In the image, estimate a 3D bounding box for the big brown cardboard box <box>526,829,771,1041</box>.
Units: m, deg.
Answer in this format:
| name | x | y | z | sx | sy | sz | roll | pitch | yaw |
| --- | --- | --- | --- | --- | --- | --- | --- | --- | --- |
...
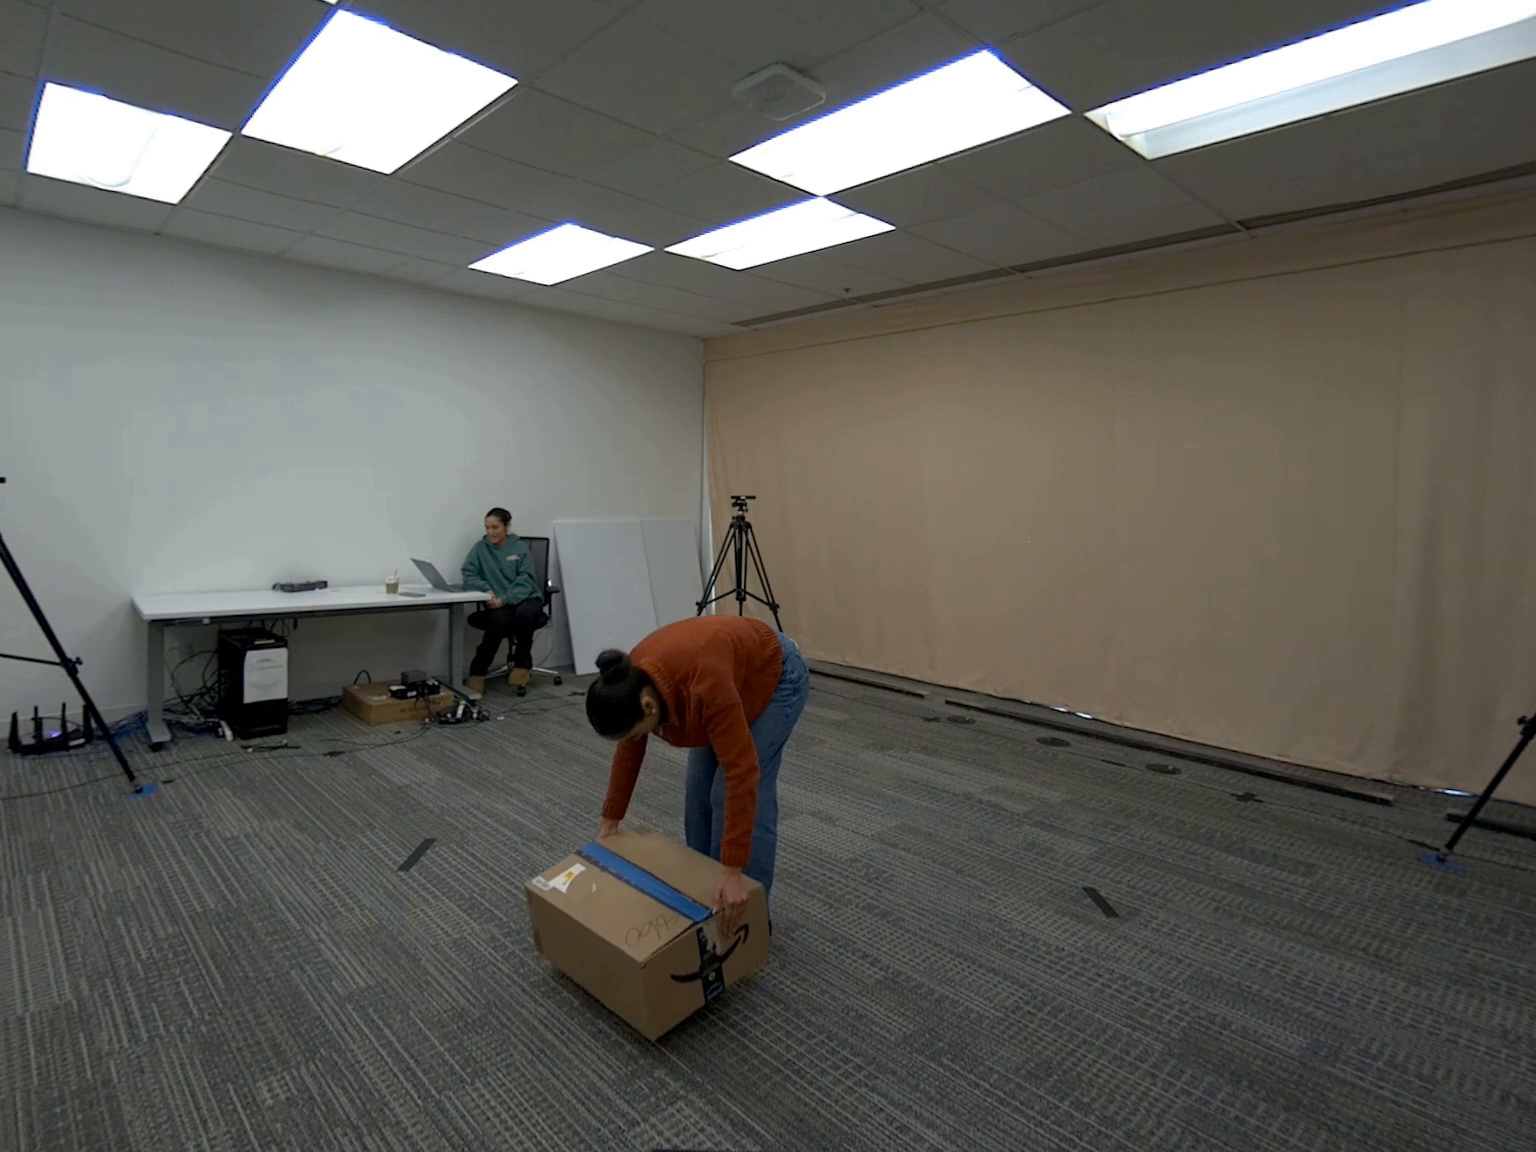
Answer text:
| name | x | y | z | sx | sy | sz | roll | pitch | yaw |
| --- | --- | --- | --- | --- | --- | --- | --- | --- | --- |
| big brown cardboard box | -0.359 | 0.952 | 2.349 | 0.410 | 0.231 | 0.604 | -17 | 16 | -43 |
